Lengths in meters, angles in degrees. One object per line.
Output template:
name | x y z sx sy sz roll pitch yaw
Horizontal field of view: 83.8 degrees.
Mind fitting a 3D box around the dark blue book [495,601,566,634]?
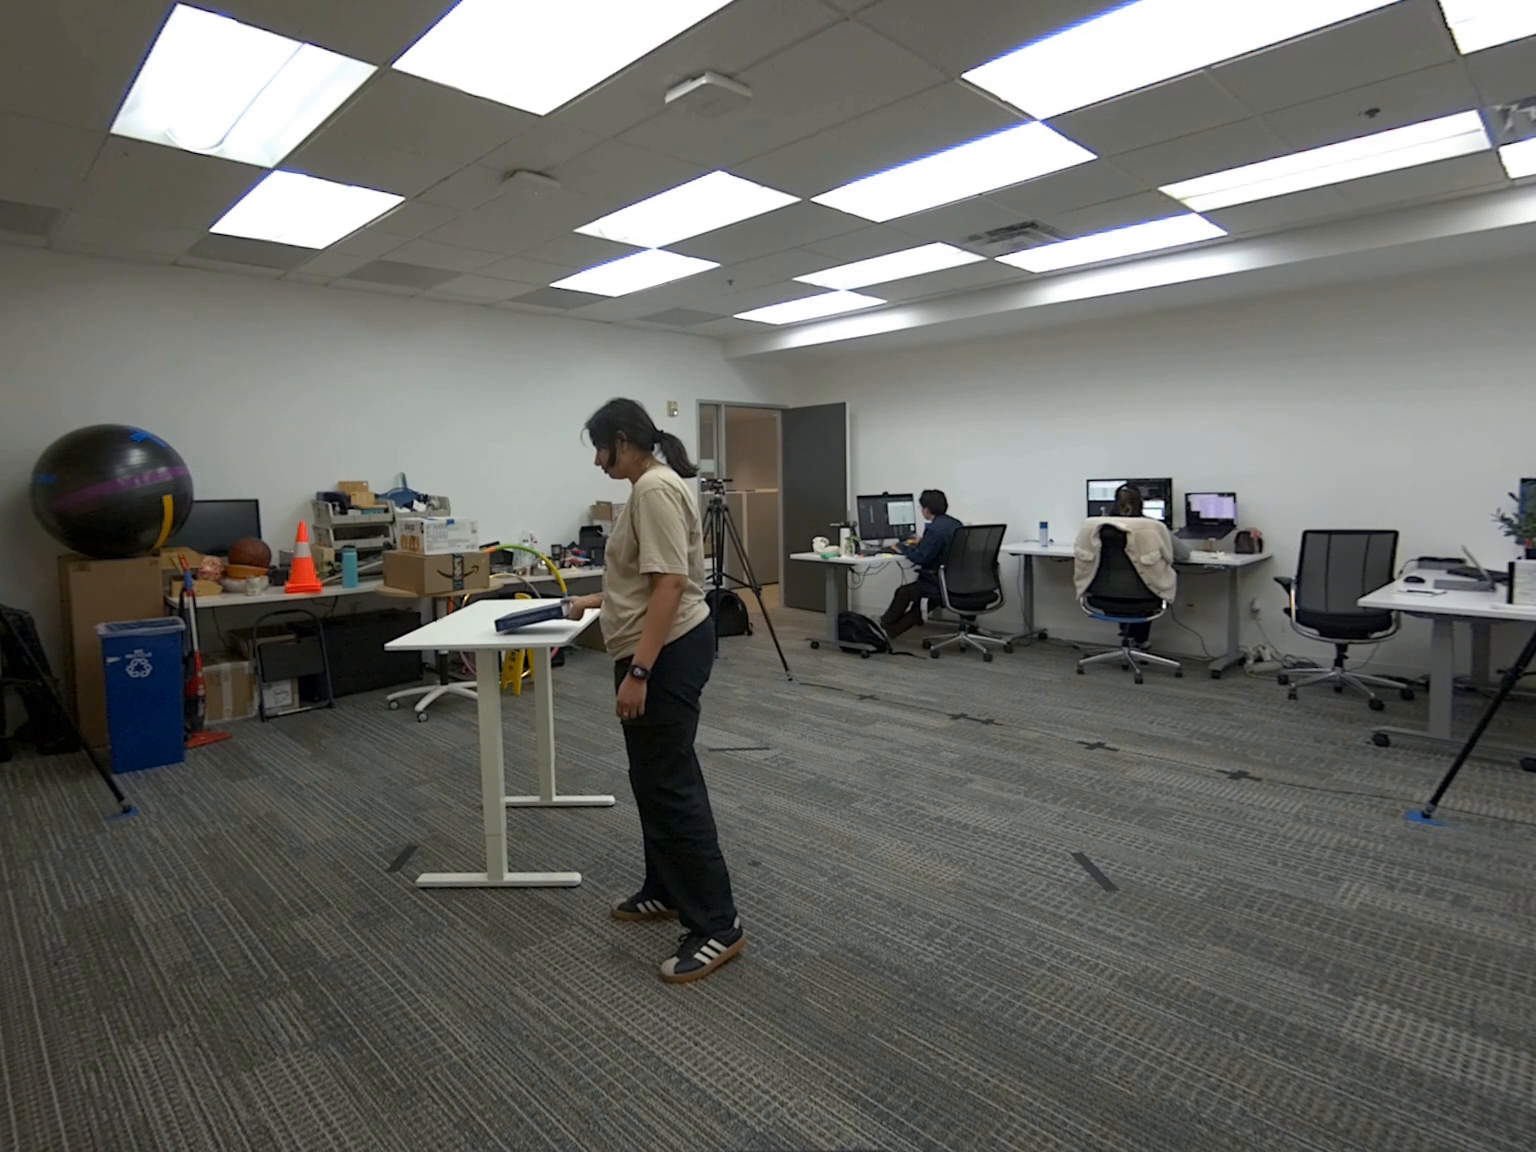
dark blue book | -0.828 0.134 2.996 0.246 0.045 0.164 -13 8 2
